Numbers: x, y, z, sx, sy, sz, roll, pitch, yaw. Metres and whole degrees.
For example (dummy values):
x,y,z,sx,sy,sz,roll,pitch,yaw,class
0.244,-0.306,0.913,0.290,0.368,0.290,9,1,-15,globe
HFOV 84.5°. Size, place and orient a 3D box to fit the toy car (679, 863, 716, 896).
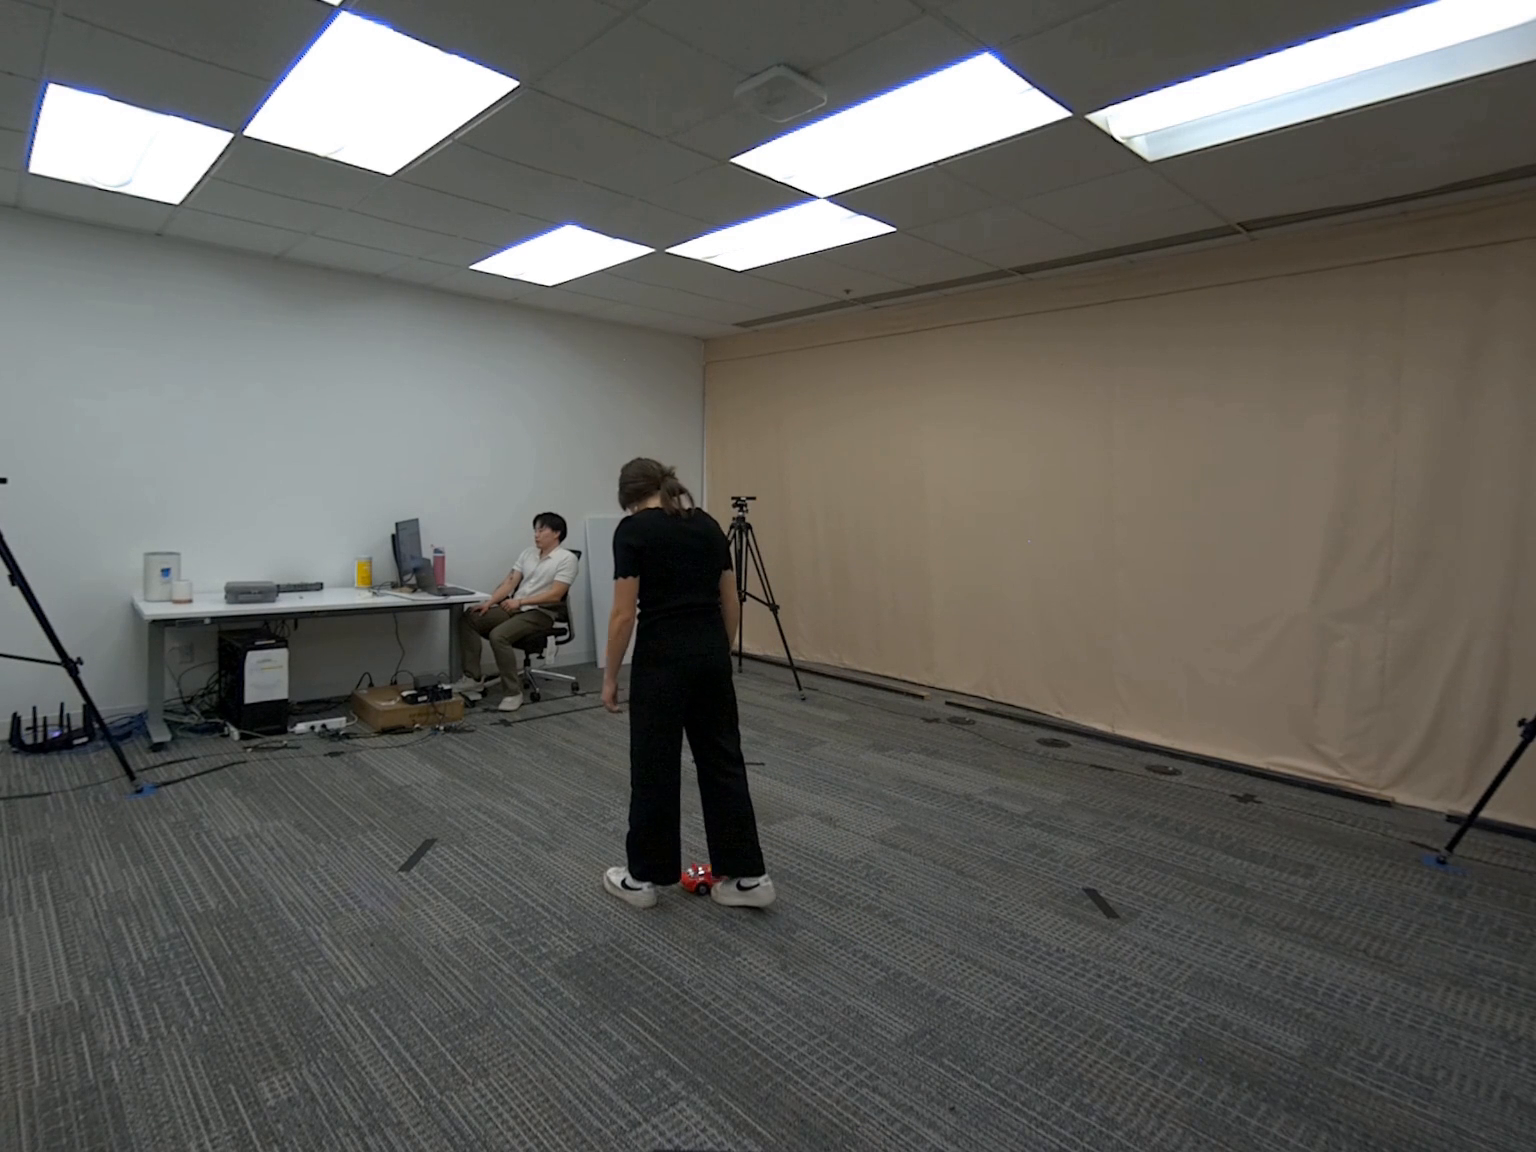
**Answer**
x,y,z,sx,sy,sz,roll,pitch,yaw,class
-0.211,1.079,3.008,0.250,0.083,0.133,11,2,-20,toy car
